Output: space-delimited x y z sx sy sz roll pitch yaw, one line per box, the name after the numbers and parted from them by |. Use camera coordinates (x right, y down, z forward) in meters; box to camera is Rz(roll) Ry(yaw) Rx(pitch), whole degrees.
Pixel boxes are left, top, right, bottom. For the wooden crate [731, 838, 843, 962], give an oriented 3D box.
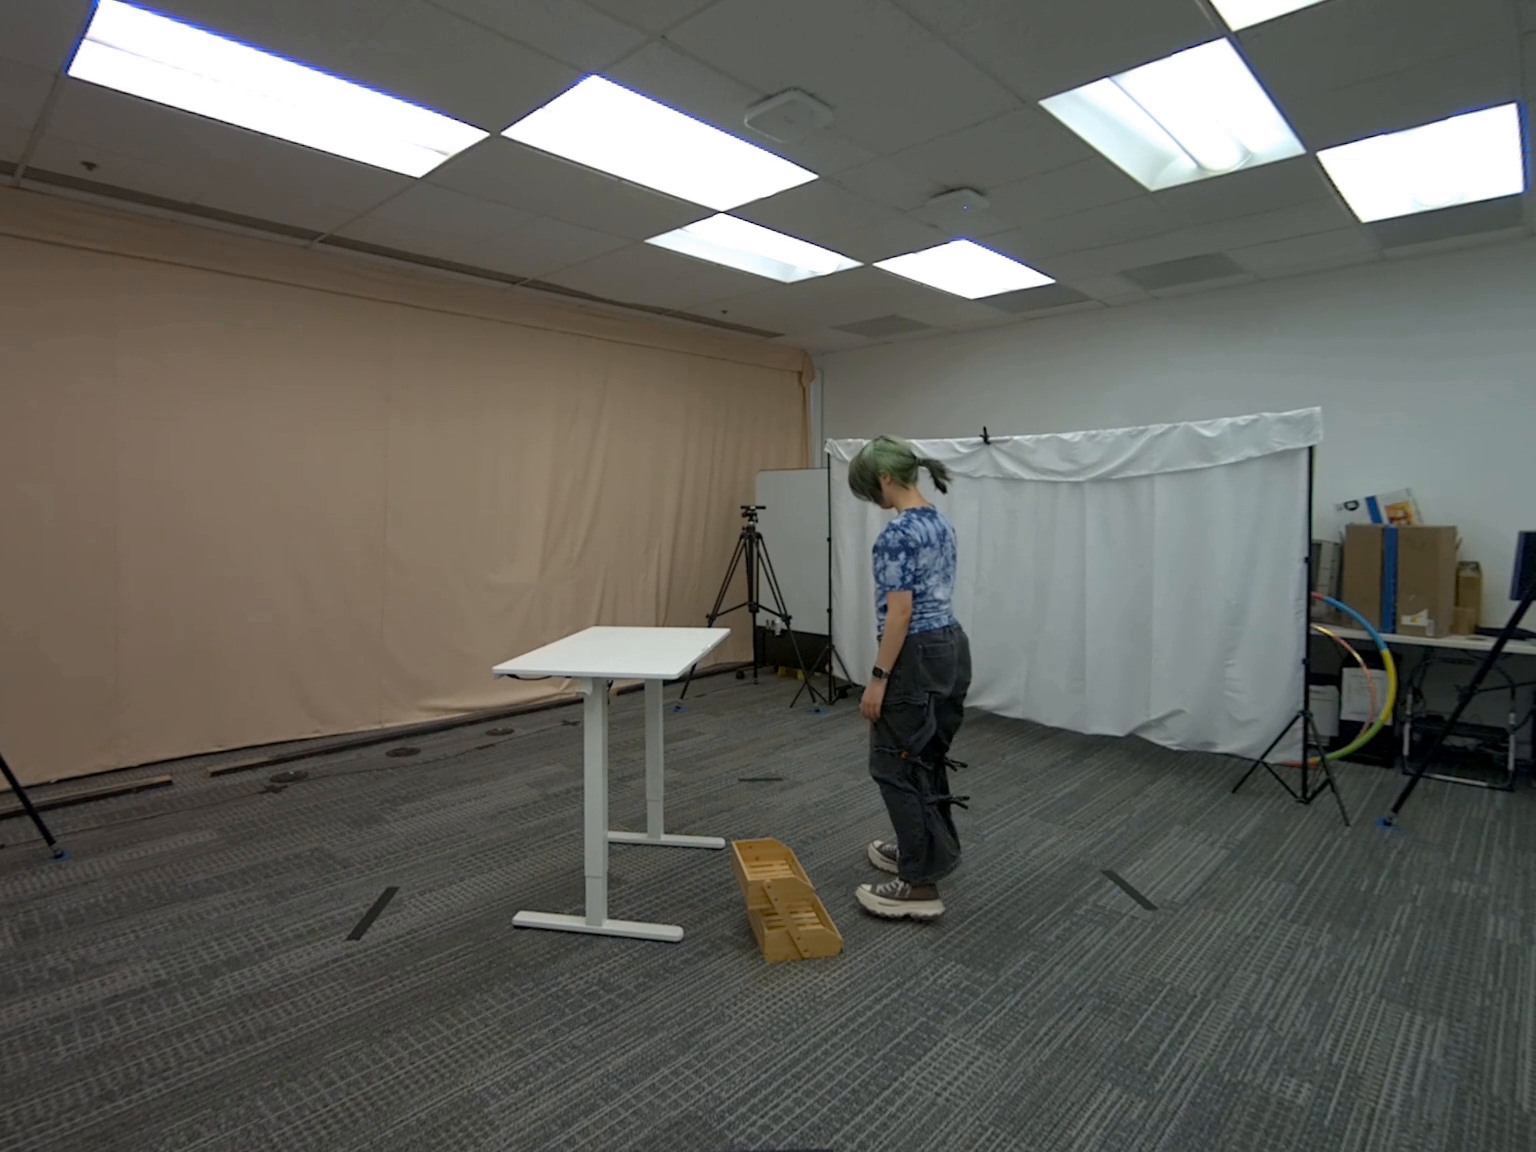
0.062 1.031 2.723 0.299 0.273 0.329 -1 4 -11 | wooden crate
